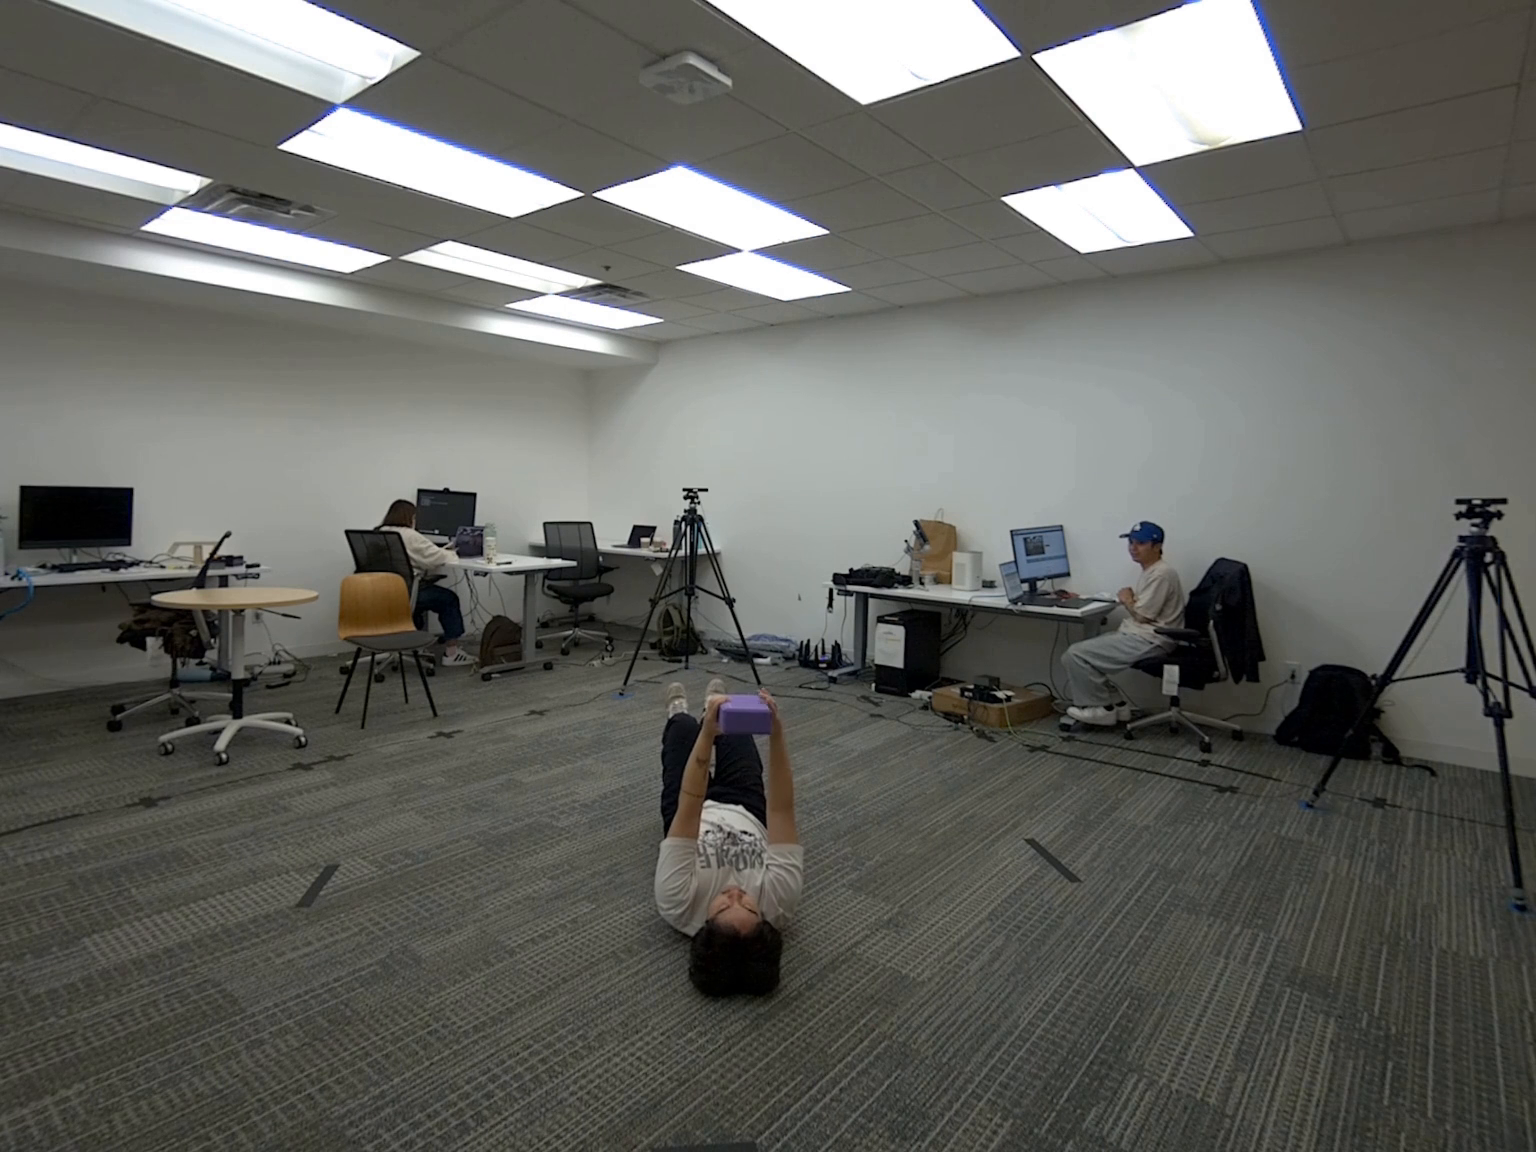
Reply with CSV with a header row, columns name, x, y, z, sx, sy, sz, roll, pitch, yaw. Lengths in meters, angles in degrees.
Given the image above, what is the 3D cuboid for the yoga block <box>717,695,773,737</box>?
name,x,y,z,sx,sy,sz,roll,pitch,yaw
yoga block,-0.092,0.422,2.612,0.148,0.076,0.231,3,1,-9
